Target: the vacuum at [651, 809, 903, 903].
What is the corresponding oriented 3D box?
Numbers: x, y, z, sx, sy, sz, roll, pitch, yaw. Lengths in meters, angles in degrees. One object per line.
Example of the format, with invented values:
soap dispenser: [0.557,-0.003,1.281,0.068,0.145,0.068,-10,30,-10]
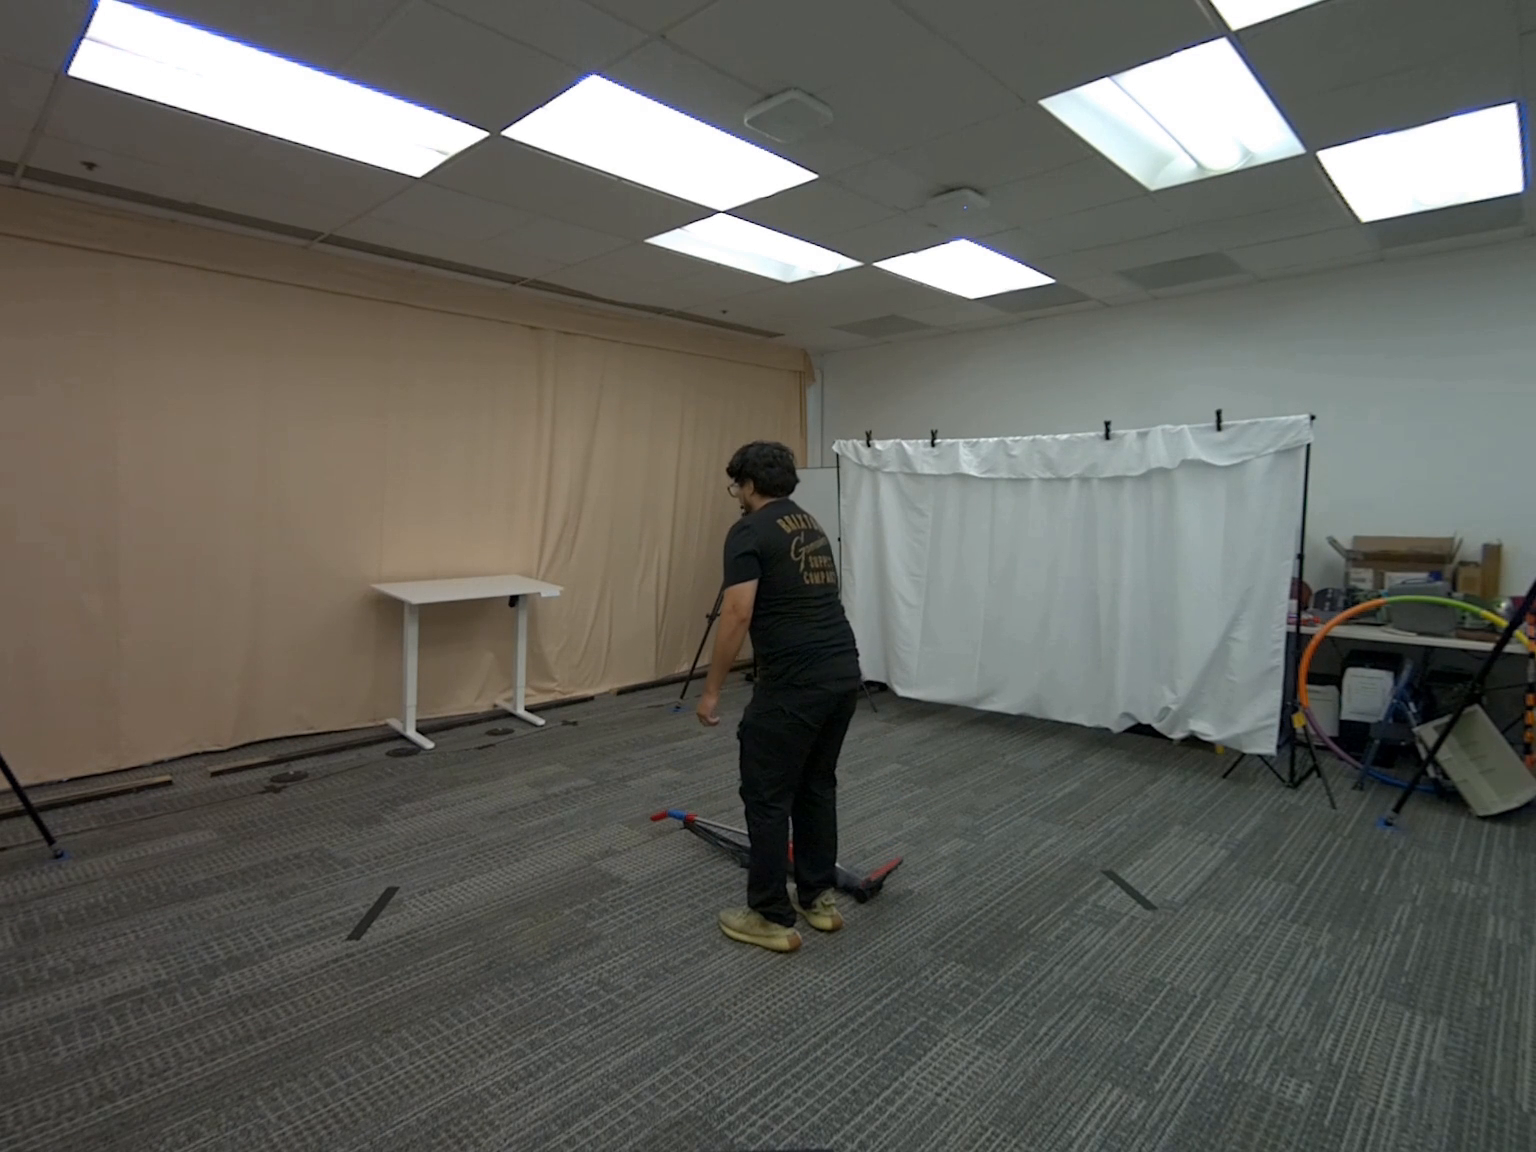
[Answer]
vacuum: [-0.048,1.059,3.275,1.082,0.144,0.245,2,5,35]
